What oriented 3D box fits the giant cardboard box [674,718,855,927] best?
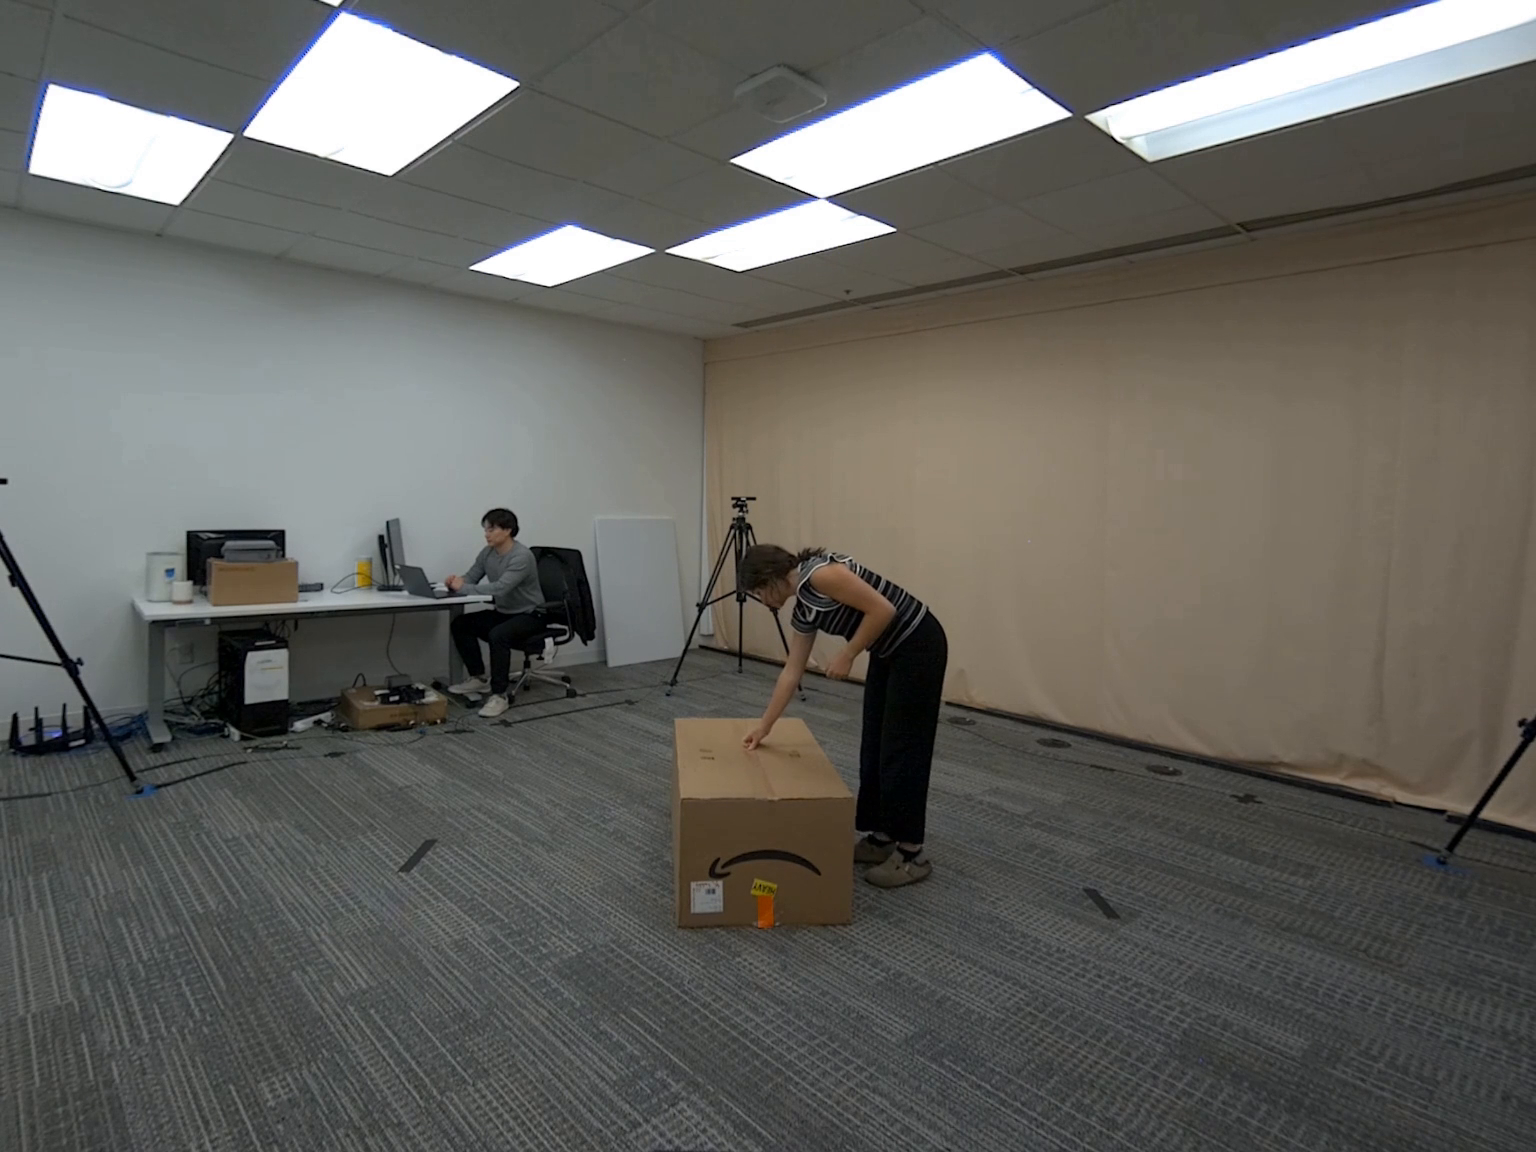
[{"bbox_3d":[-0.076,0.888,3.231,0.575,0.425,1.034,1,5,-7],"label":"giant cardboard box"}]
